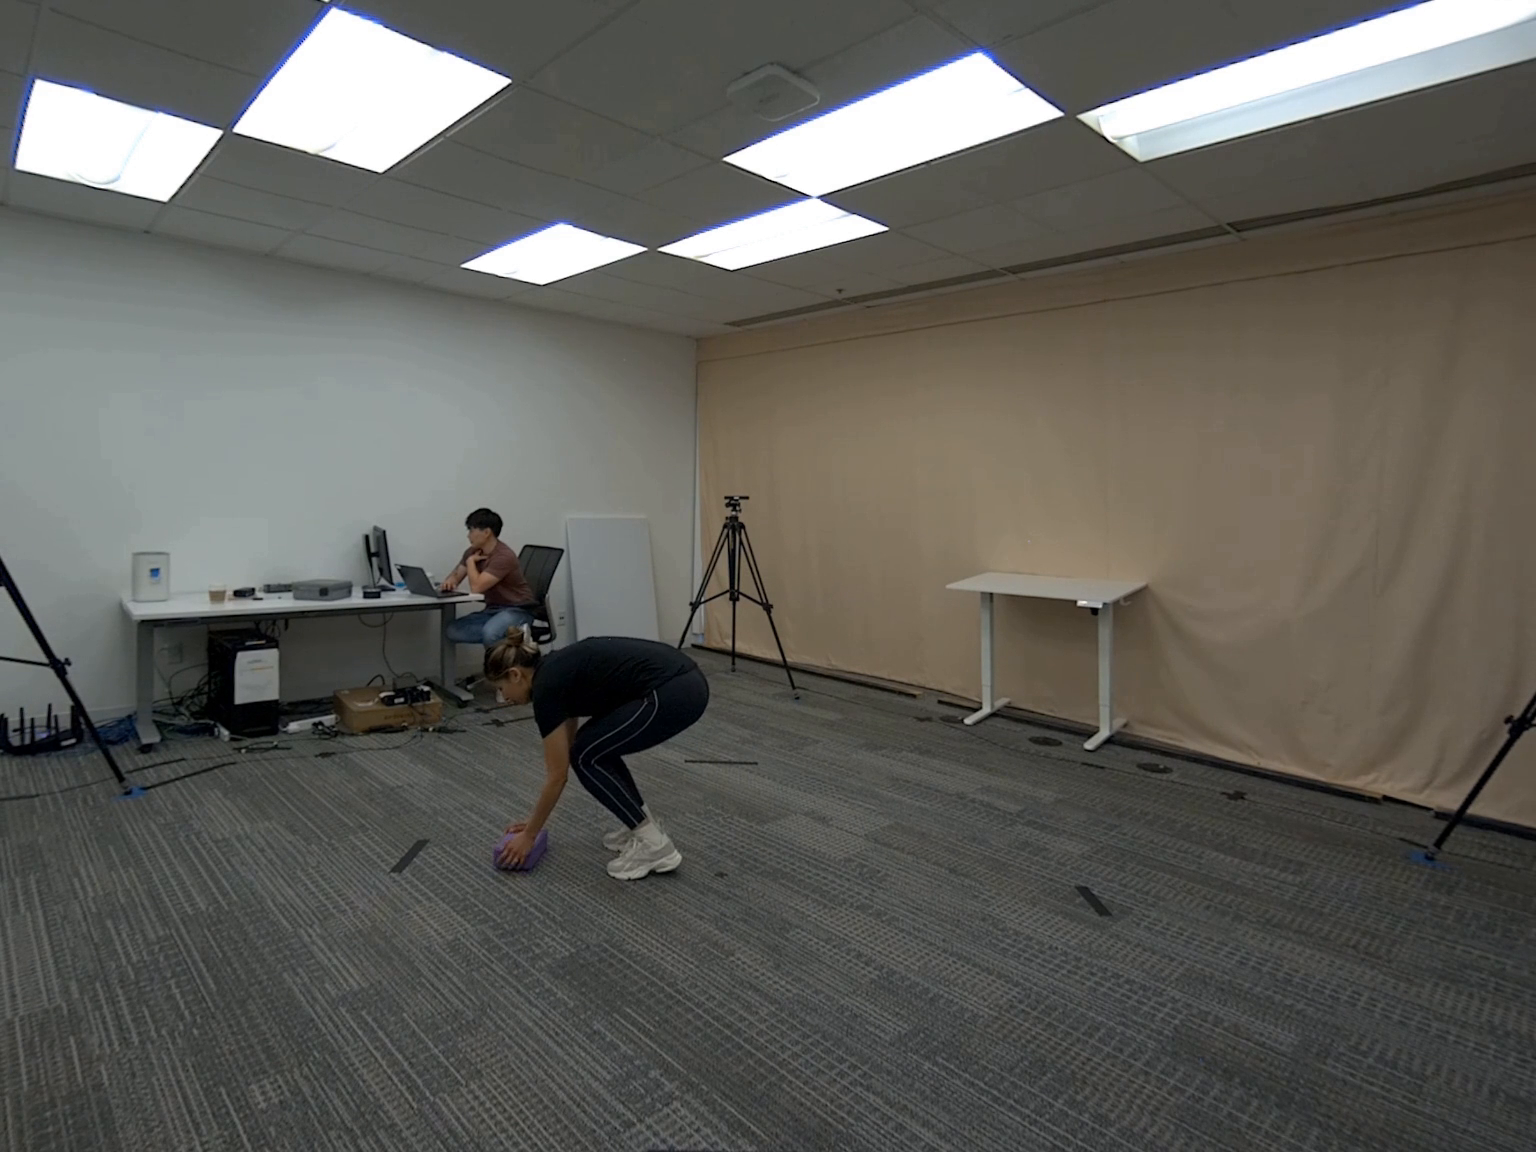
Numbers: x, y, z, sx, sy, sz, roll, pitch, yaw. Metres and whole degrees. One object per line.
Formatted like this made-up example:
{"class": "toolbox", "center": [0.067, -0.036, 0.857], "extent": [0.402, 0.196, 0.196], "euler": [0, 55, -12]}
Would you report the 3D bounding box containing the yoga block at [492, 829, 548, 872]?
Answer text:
{"class": "yoga block", "center": [-0.934, 1.031, 3.202], "extent": [0.149, 0.076, 0.229], "euler": [-2, 2, 0]}
